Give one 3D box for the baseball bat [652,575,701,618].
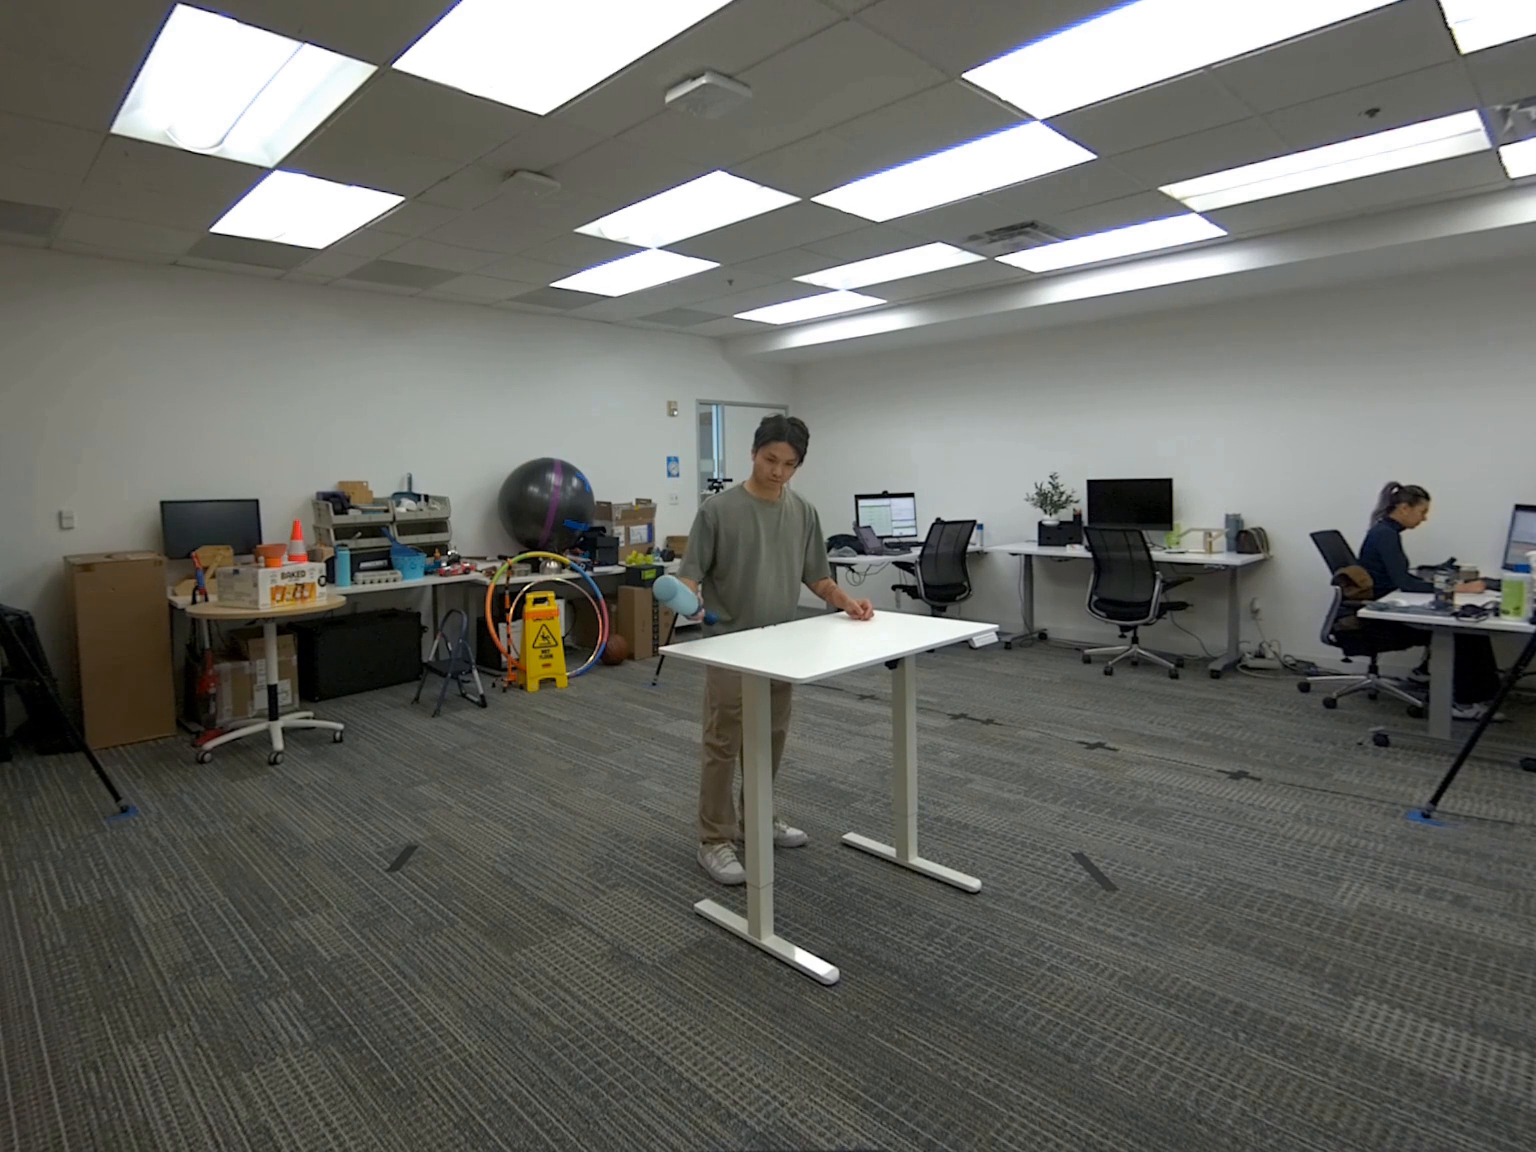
[{"bbox_3d":[-0.251,0.110,2.794,0.090,0.090,0.529,1,-14,12],"label":"baseball bat"}]
